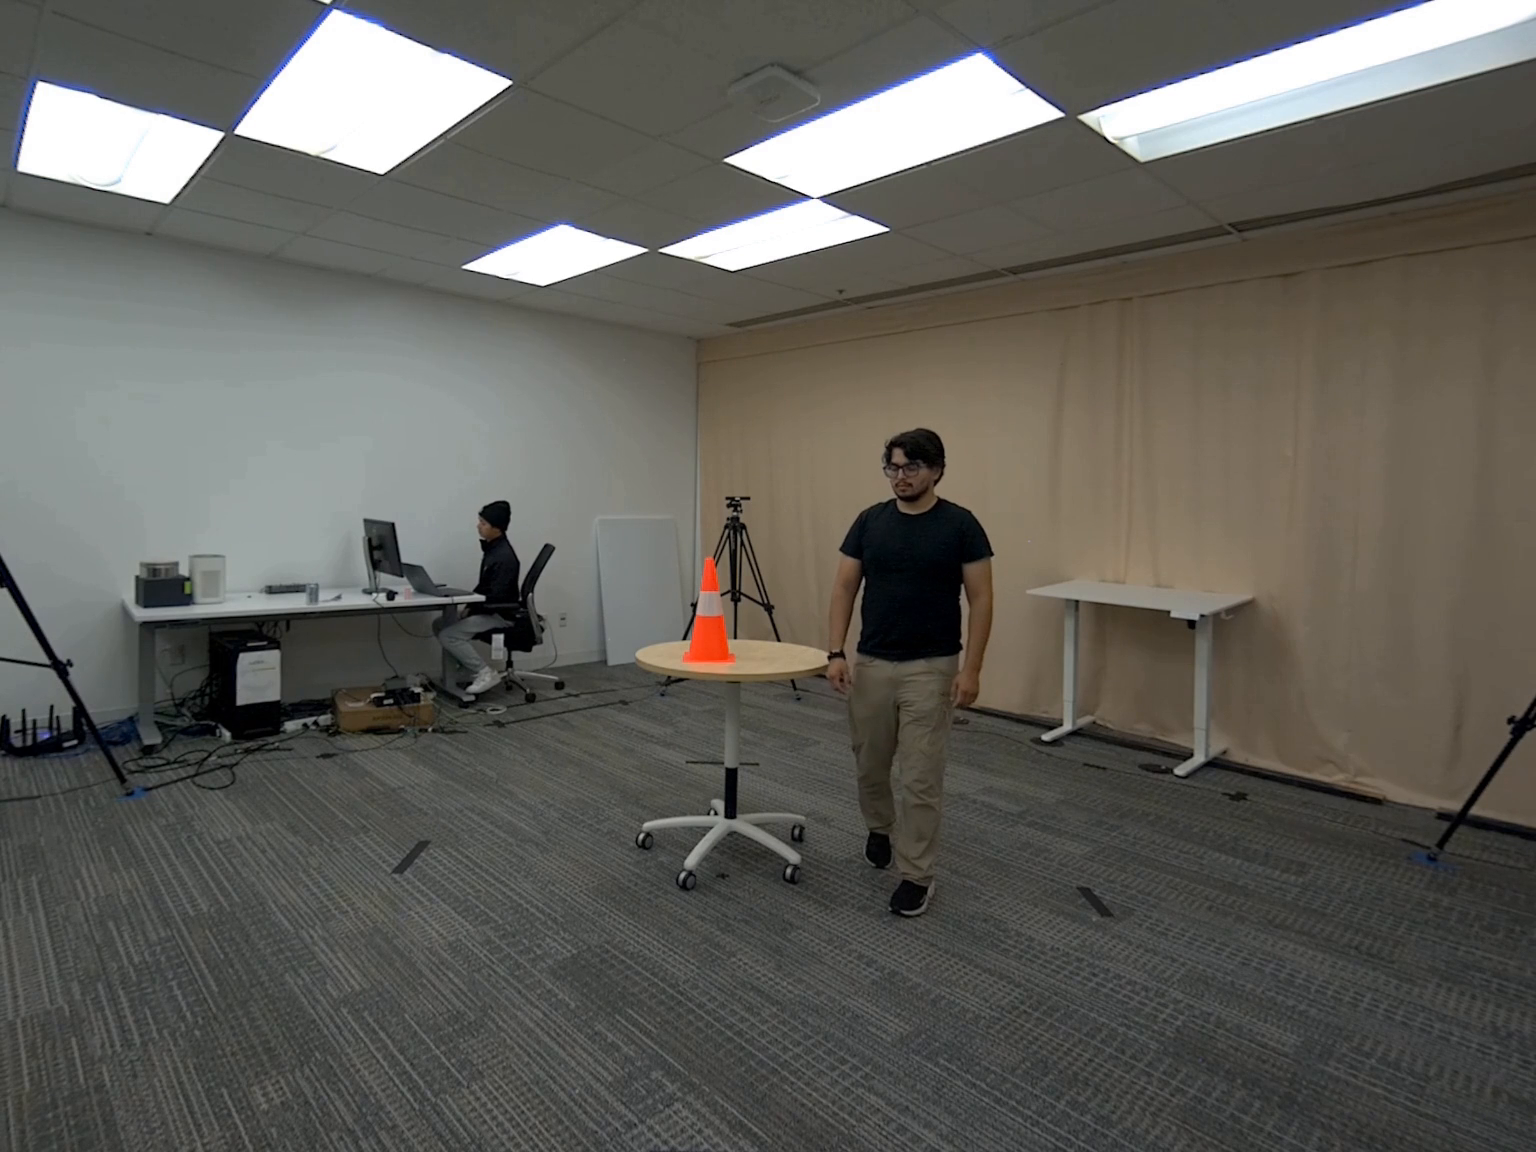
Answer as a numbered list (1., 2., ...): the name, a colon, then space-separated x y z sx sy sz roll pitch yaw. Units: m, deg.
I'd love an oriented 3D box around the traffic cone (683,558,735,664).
1. traffic cone: -0.220 0.127 3.185 0.203 0.383 0.205 1 3 -1
